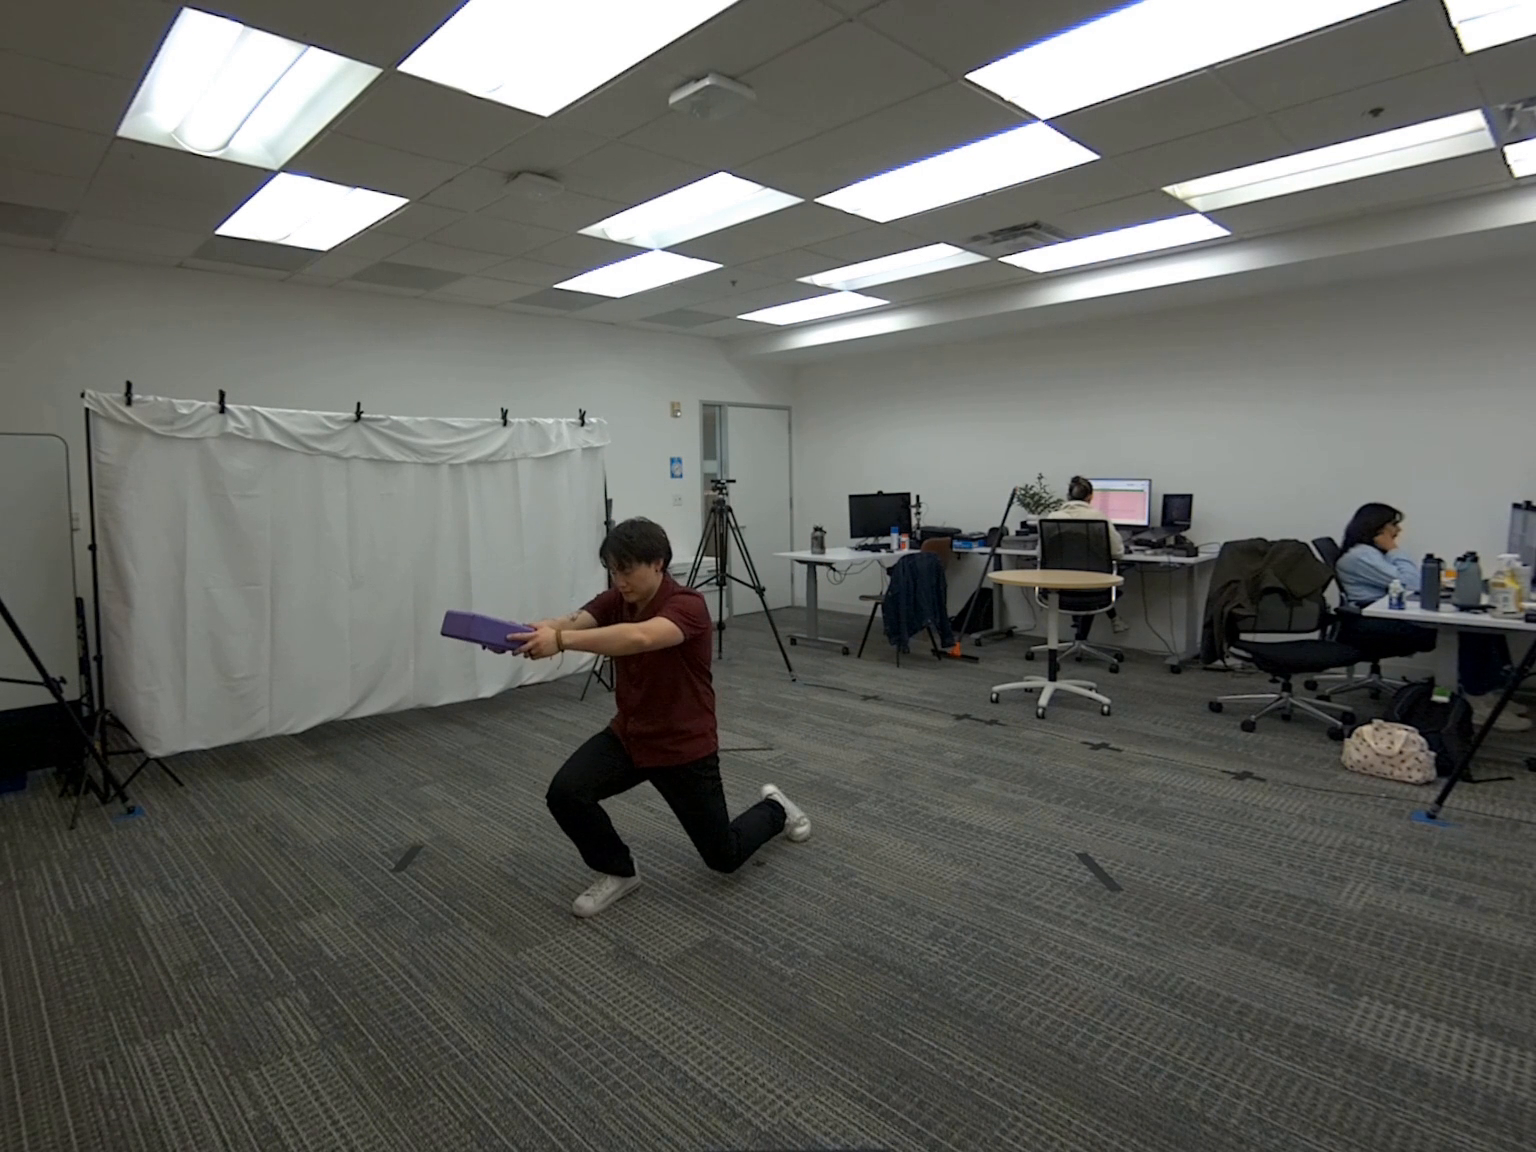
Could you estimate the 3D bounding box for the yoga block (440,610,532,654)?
[{"bbox_3d":[-0.793,0.147,2.444,0.153,0.077,0.221,3,-13,41],"label":"yoga block"}]
